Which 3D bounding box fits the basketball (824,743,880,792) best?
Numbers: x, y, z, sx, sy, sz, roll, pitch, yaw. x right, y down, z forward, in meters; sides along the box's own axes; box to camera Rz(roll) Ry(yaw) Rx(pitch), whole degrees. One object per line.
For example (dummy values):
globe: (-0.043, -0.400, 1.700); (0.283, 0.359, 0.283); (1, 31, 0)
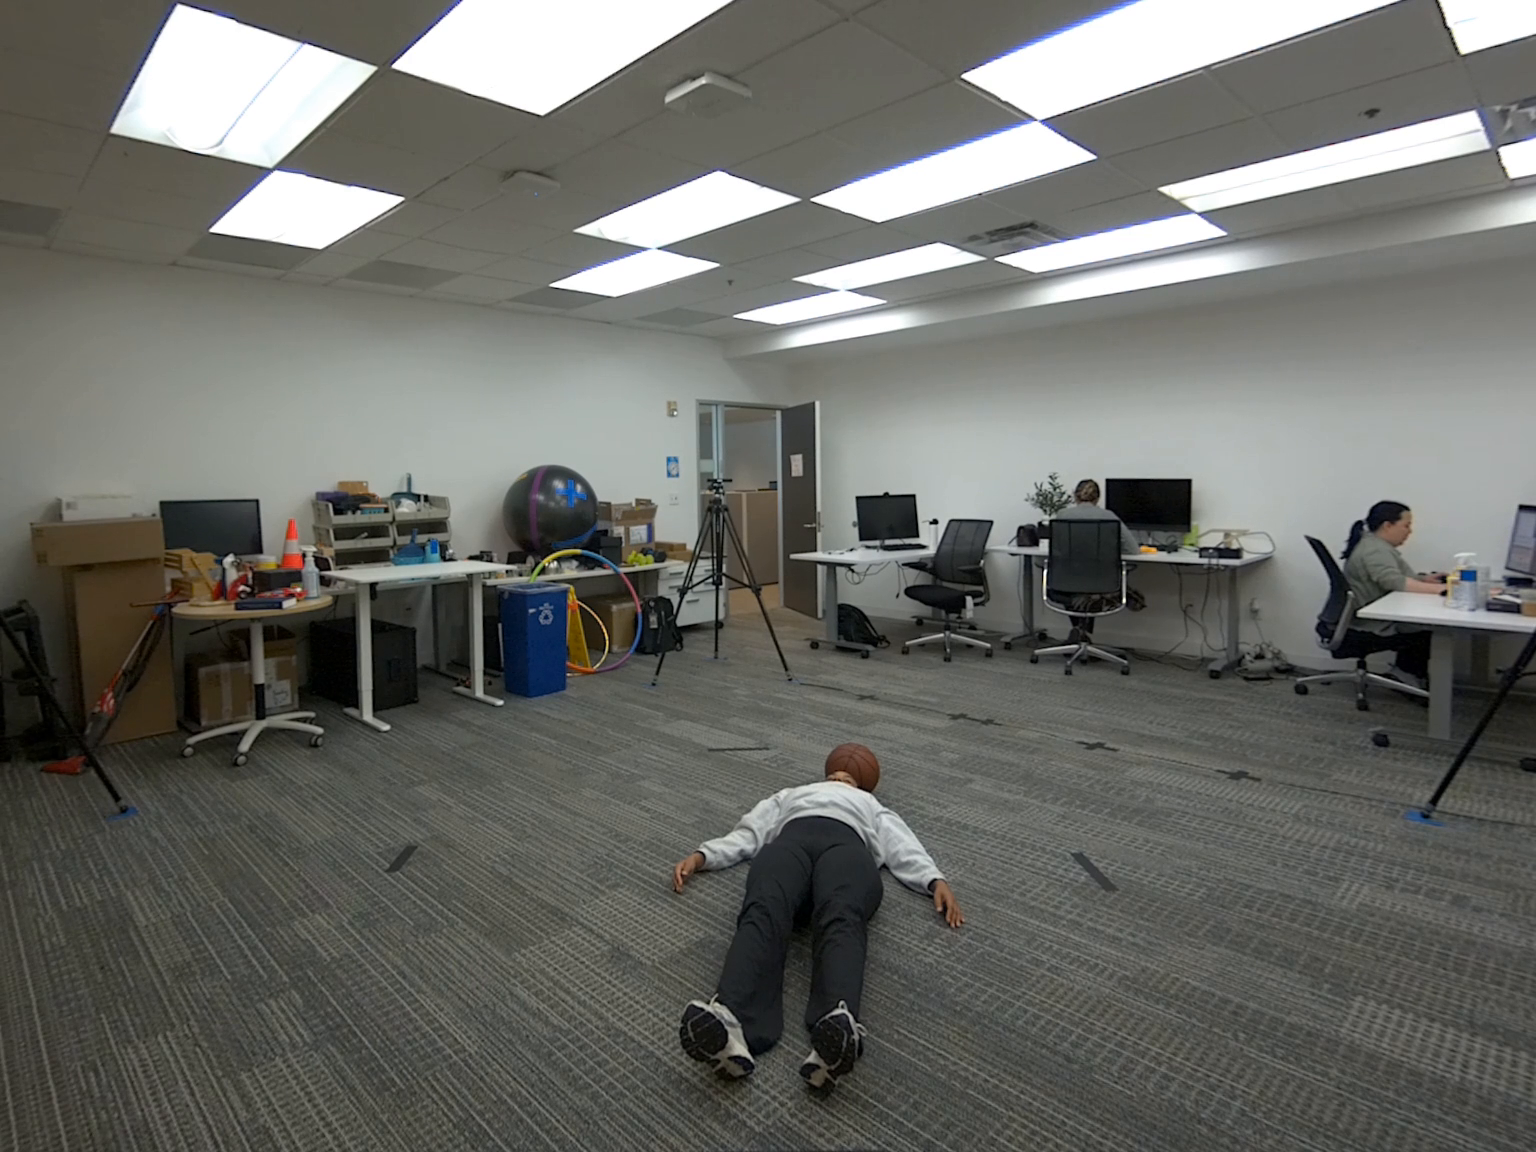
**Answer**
basketball: (0.369, 0.849, 3.727); (0.236, 0.235, 0.236); (-4, 2, -2)
